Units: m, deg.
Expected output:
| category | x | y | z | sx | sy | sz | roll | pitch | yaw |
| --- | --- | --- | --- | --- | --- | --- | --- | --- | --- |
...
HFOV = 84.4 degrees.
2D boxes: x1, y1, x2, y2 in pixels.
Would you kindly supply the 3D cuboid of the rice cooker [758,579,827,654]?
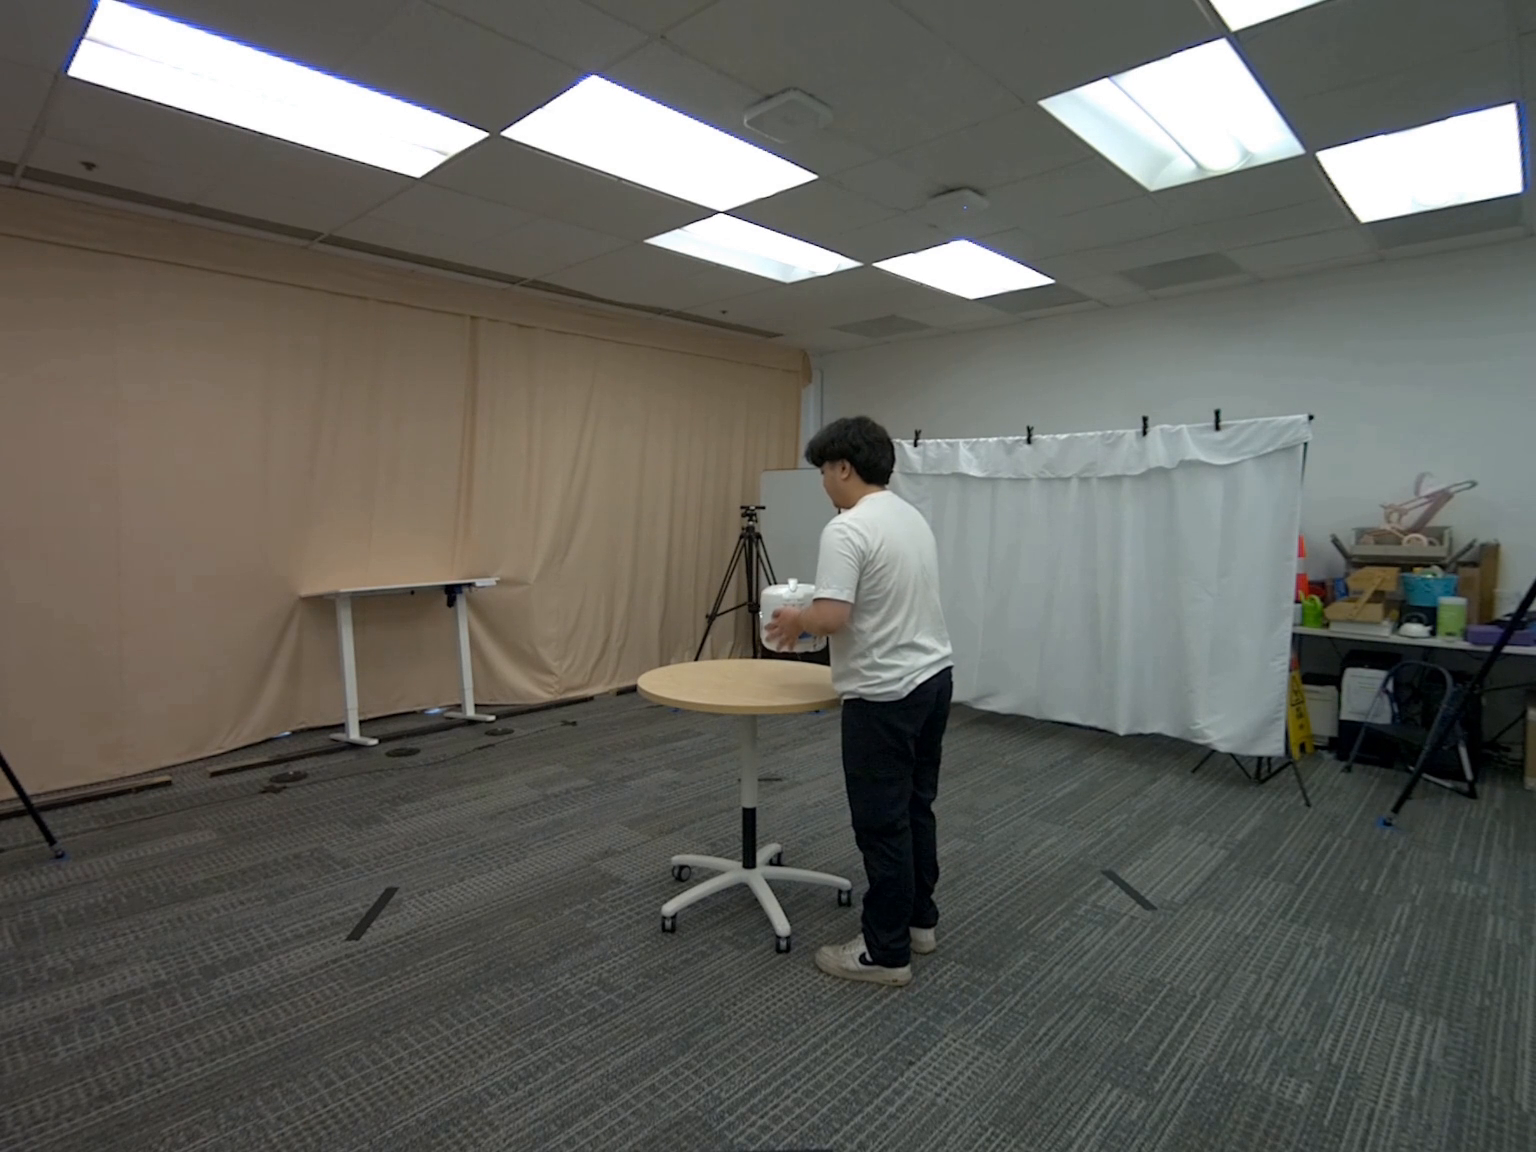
| category | x | y | z | sx | sy | sz | roll | pitch | yaw |
| --- | --- | --- | --- | --- | --- | --- | --- | --- | --- |
| rice cooker | 0.082 | 0.125 | 2.762 | 0.219 | 0.233 | 0.219 | -1 | 1 | 4 |
